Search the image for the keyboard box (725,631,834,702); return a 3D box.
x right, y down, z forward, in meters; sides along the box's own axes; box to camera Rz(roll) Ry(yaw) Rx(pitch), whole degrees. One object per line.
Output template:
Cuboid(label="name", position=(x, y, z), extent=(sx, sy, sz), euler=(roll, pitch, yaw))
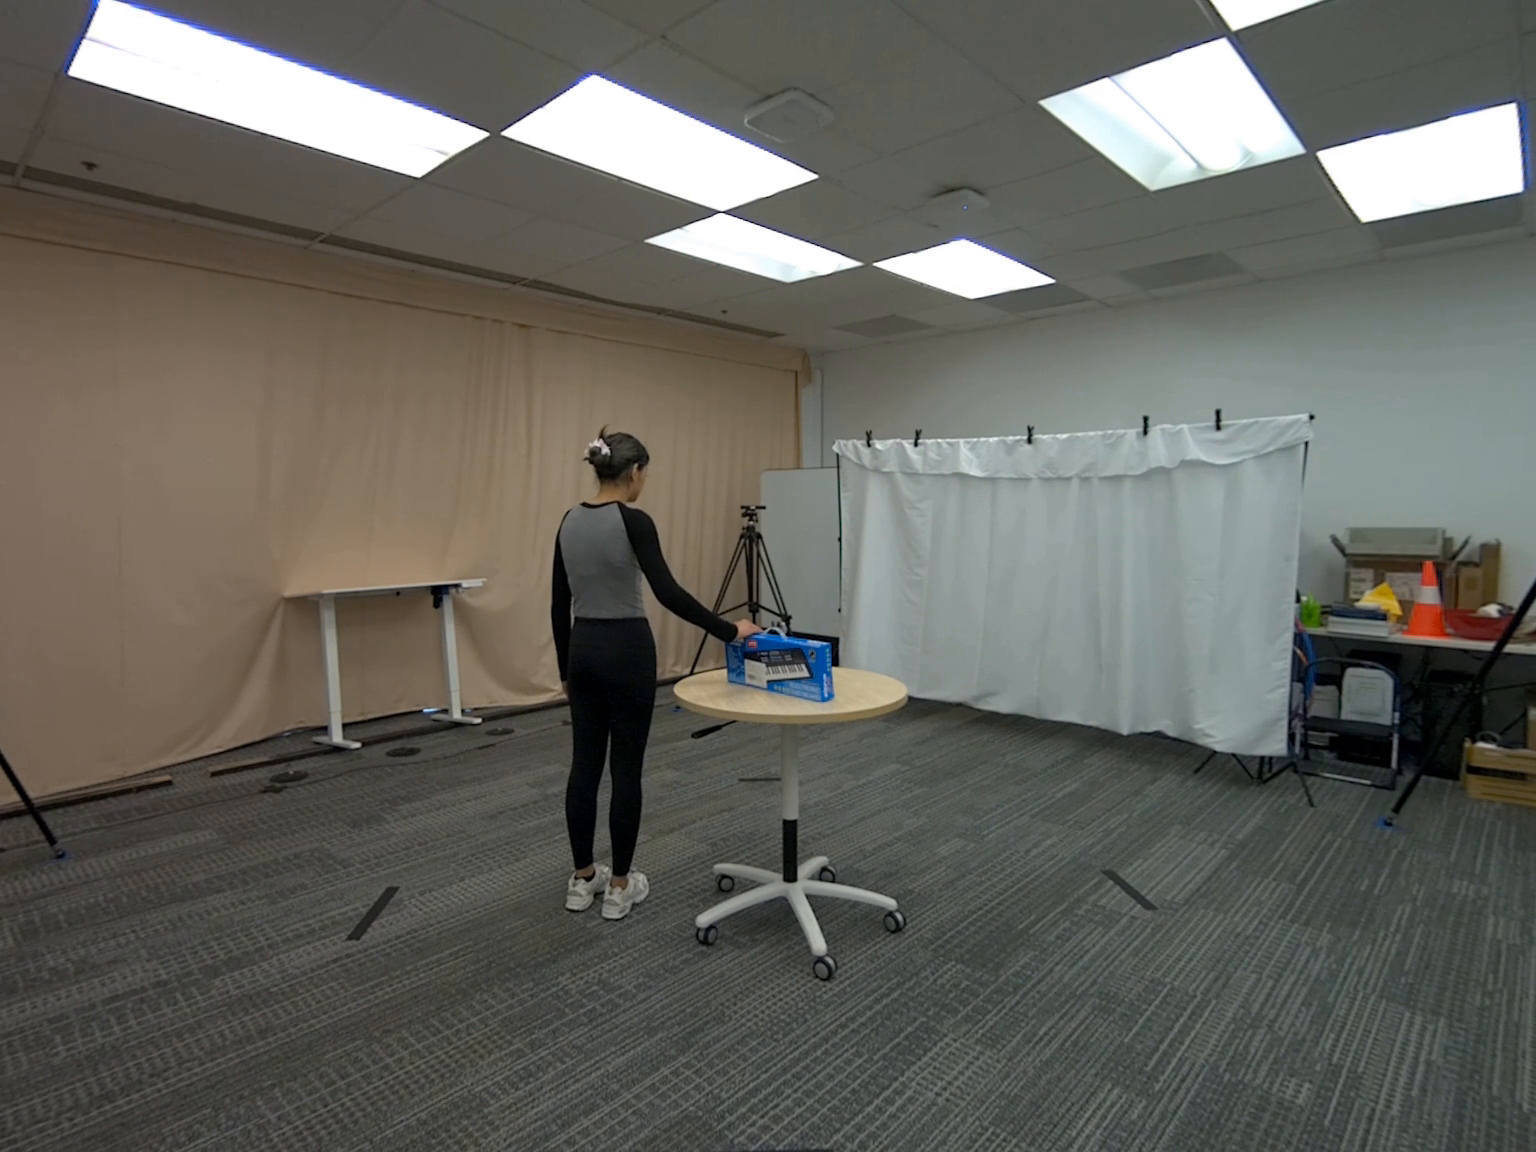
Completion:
Cuboid(label="keyboard box", position=(0.030, 0.286, 2.722), extent=(0.057, 0.175, 0.451), euler=(-8, 8, -42))
